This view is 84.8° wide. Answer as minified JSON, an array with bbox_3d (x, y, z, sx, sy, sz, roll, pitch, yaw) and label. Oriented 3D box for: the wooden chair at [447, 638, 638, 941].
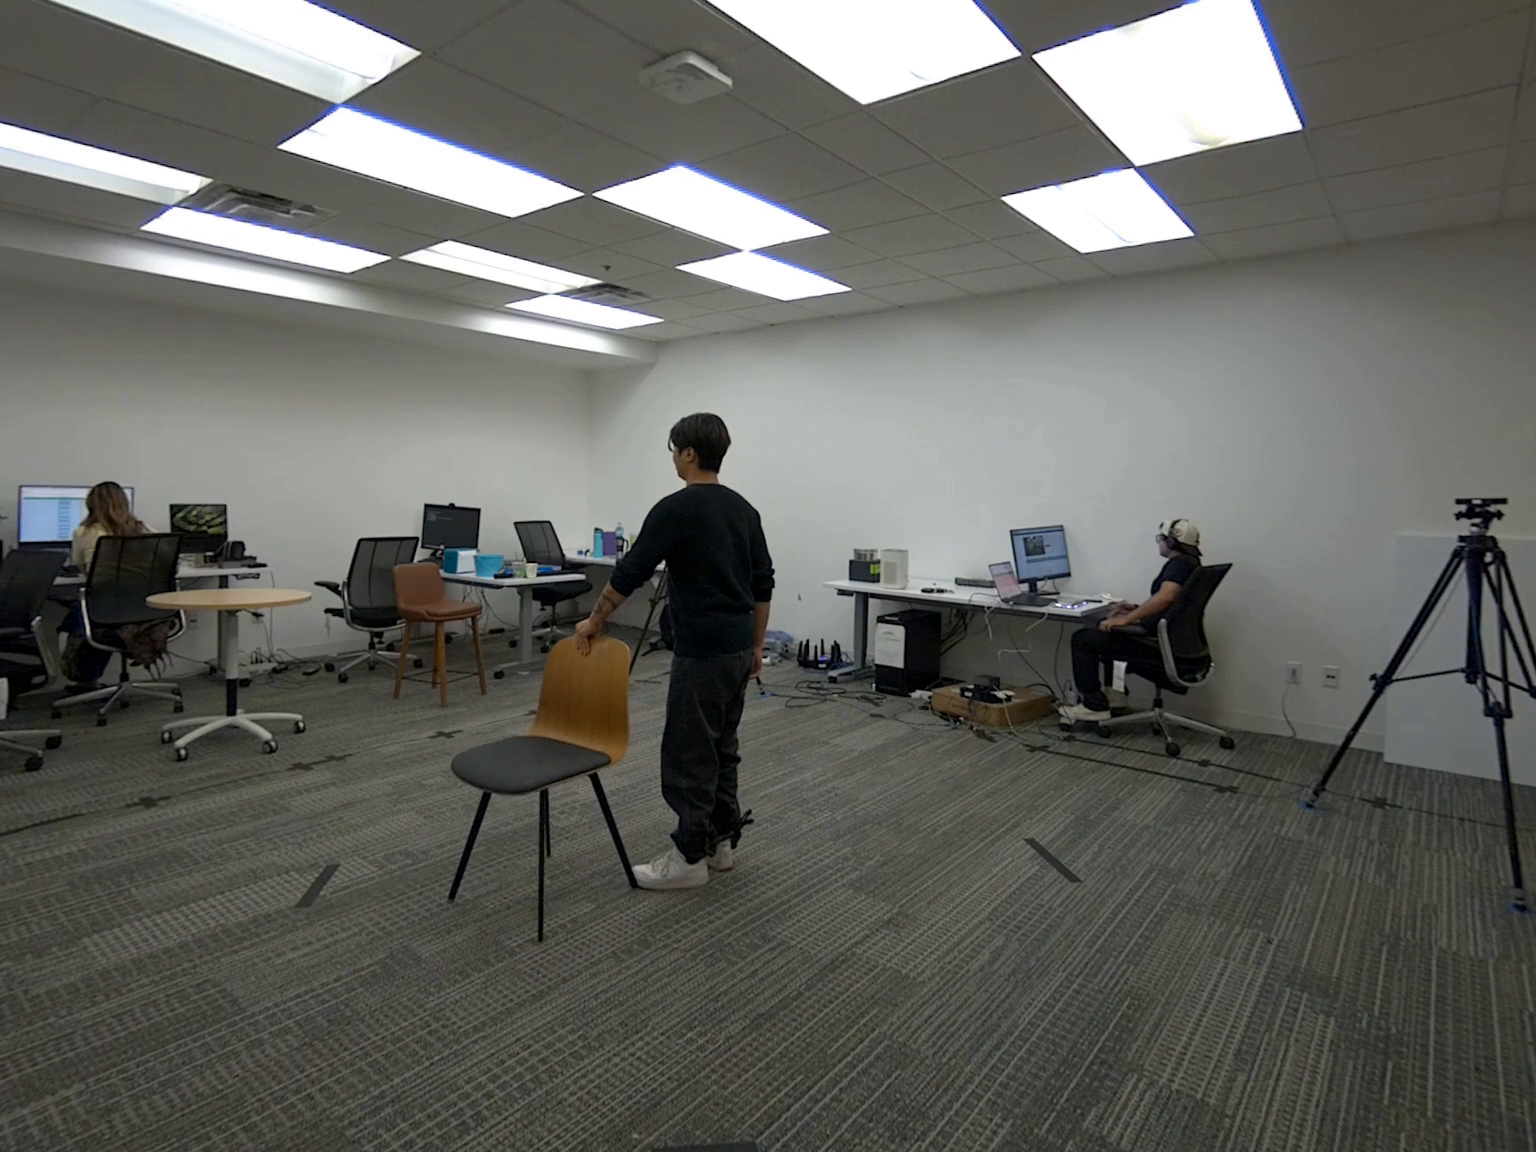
[{"bbox_3d":[-0.766,0.656,2.864,0.493,0.878,0.507,3,-1,33],"label":"wooden chair"}]
